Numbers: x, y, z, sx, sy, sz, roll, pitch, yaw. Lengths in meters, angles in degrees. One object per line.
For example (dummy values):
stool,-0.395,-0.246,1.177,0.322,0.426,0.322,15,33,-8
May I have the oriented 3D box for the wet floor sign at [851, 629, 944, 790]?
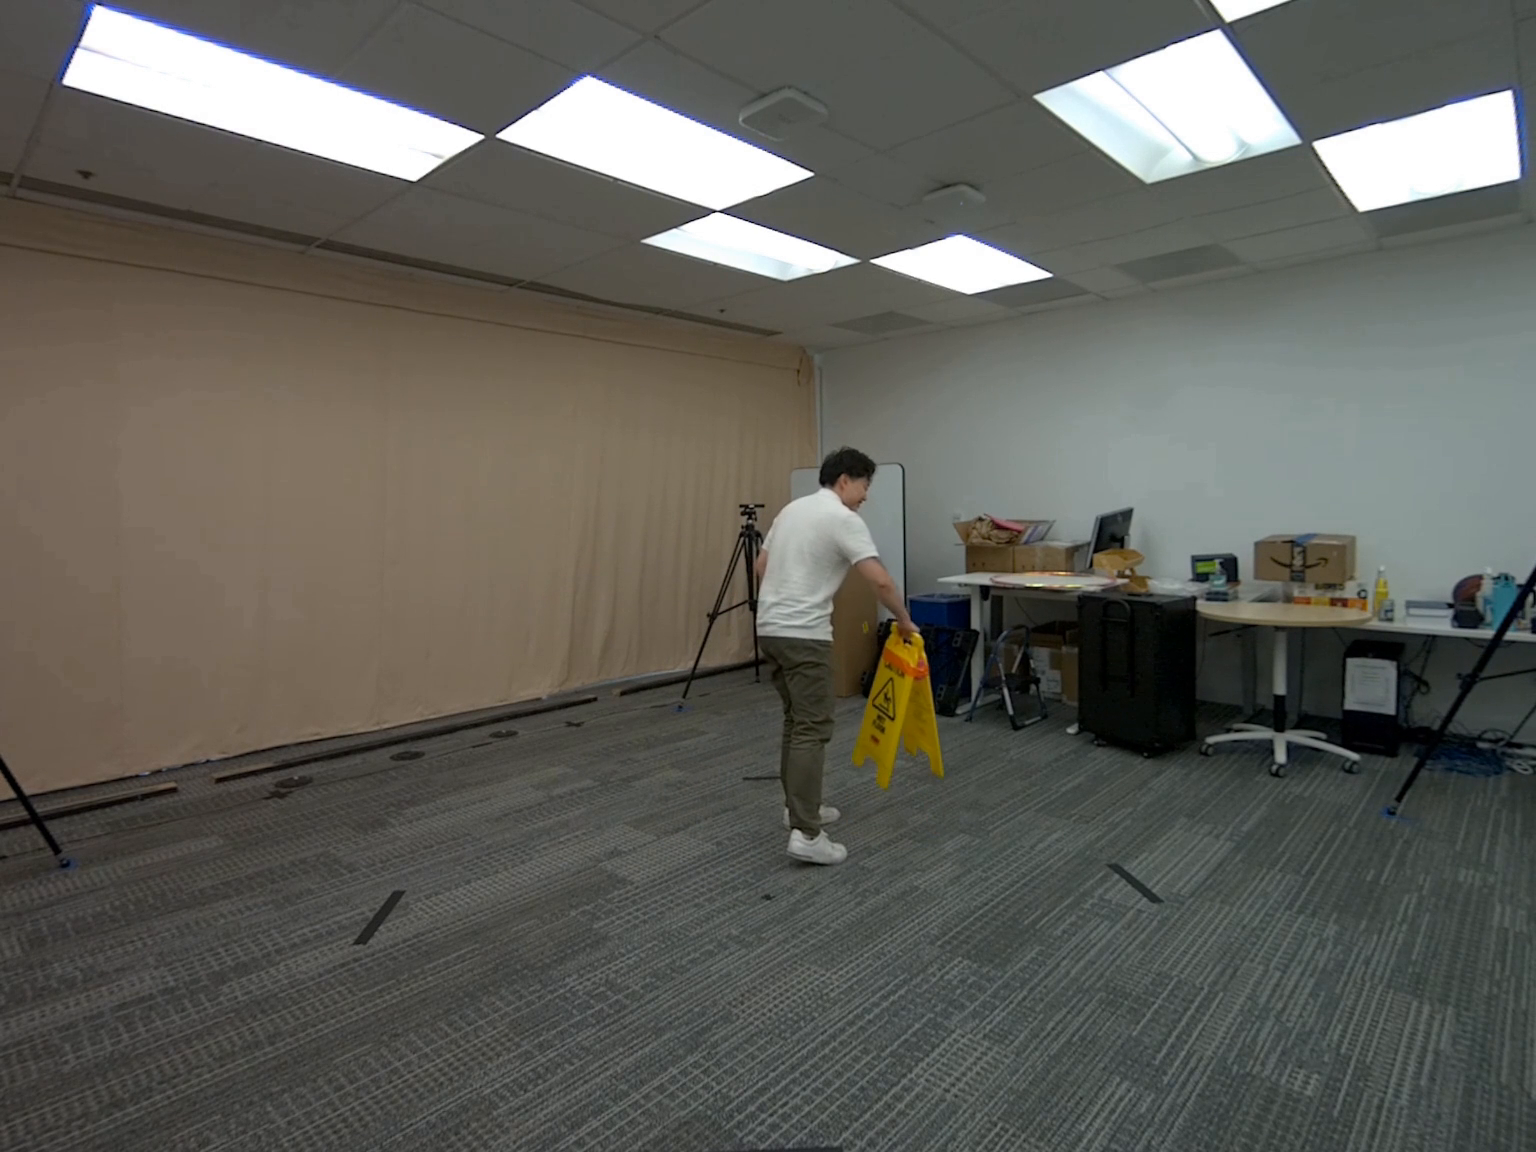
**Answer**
wet floor sign,0.571,0.523,3.576,0.284,0.640,0.291,-5,15,-23
